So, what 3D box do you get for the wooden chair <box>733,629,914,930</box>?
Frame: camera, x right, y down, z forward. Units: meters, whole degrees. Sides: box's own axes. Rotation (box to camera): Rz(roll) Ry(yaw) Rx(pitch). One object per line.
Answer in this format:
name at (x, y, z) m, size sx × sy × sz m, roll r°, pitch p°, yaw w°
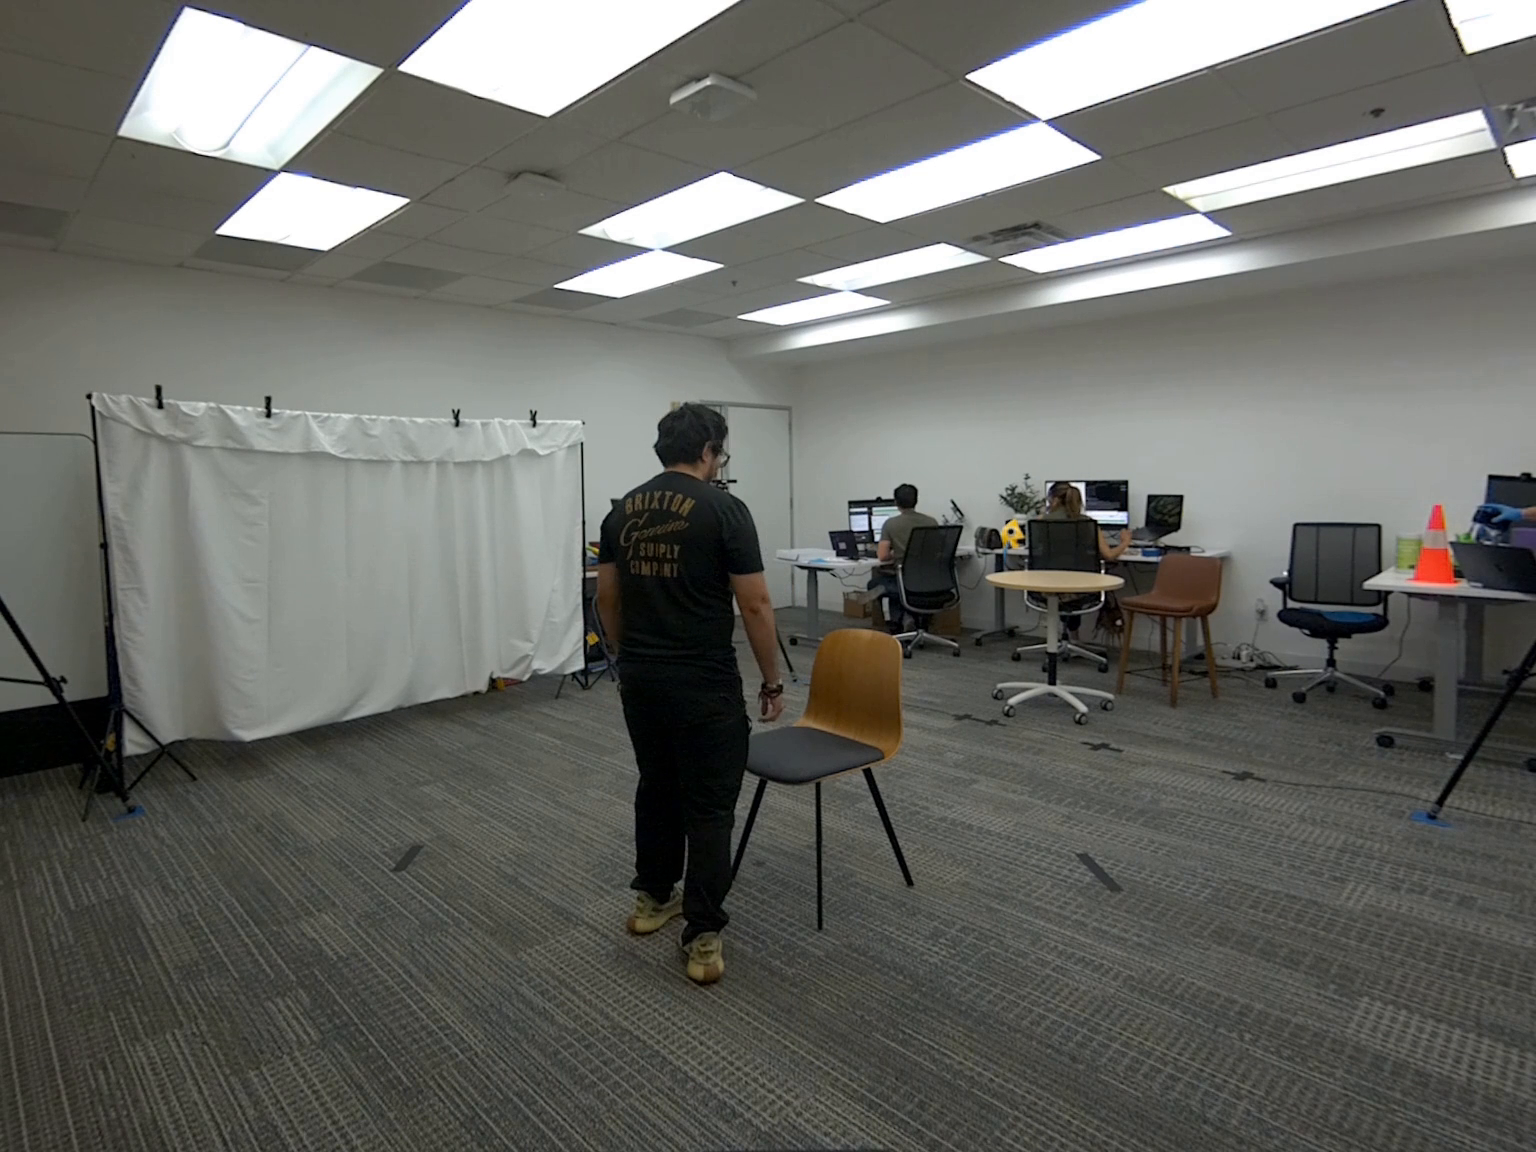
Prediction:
wooden chair at (0.172, 0.638, 2.920) m, size 0.508 × 0.876 × 0.493 m, roll 1°, pitch 2°, yaw -40°
